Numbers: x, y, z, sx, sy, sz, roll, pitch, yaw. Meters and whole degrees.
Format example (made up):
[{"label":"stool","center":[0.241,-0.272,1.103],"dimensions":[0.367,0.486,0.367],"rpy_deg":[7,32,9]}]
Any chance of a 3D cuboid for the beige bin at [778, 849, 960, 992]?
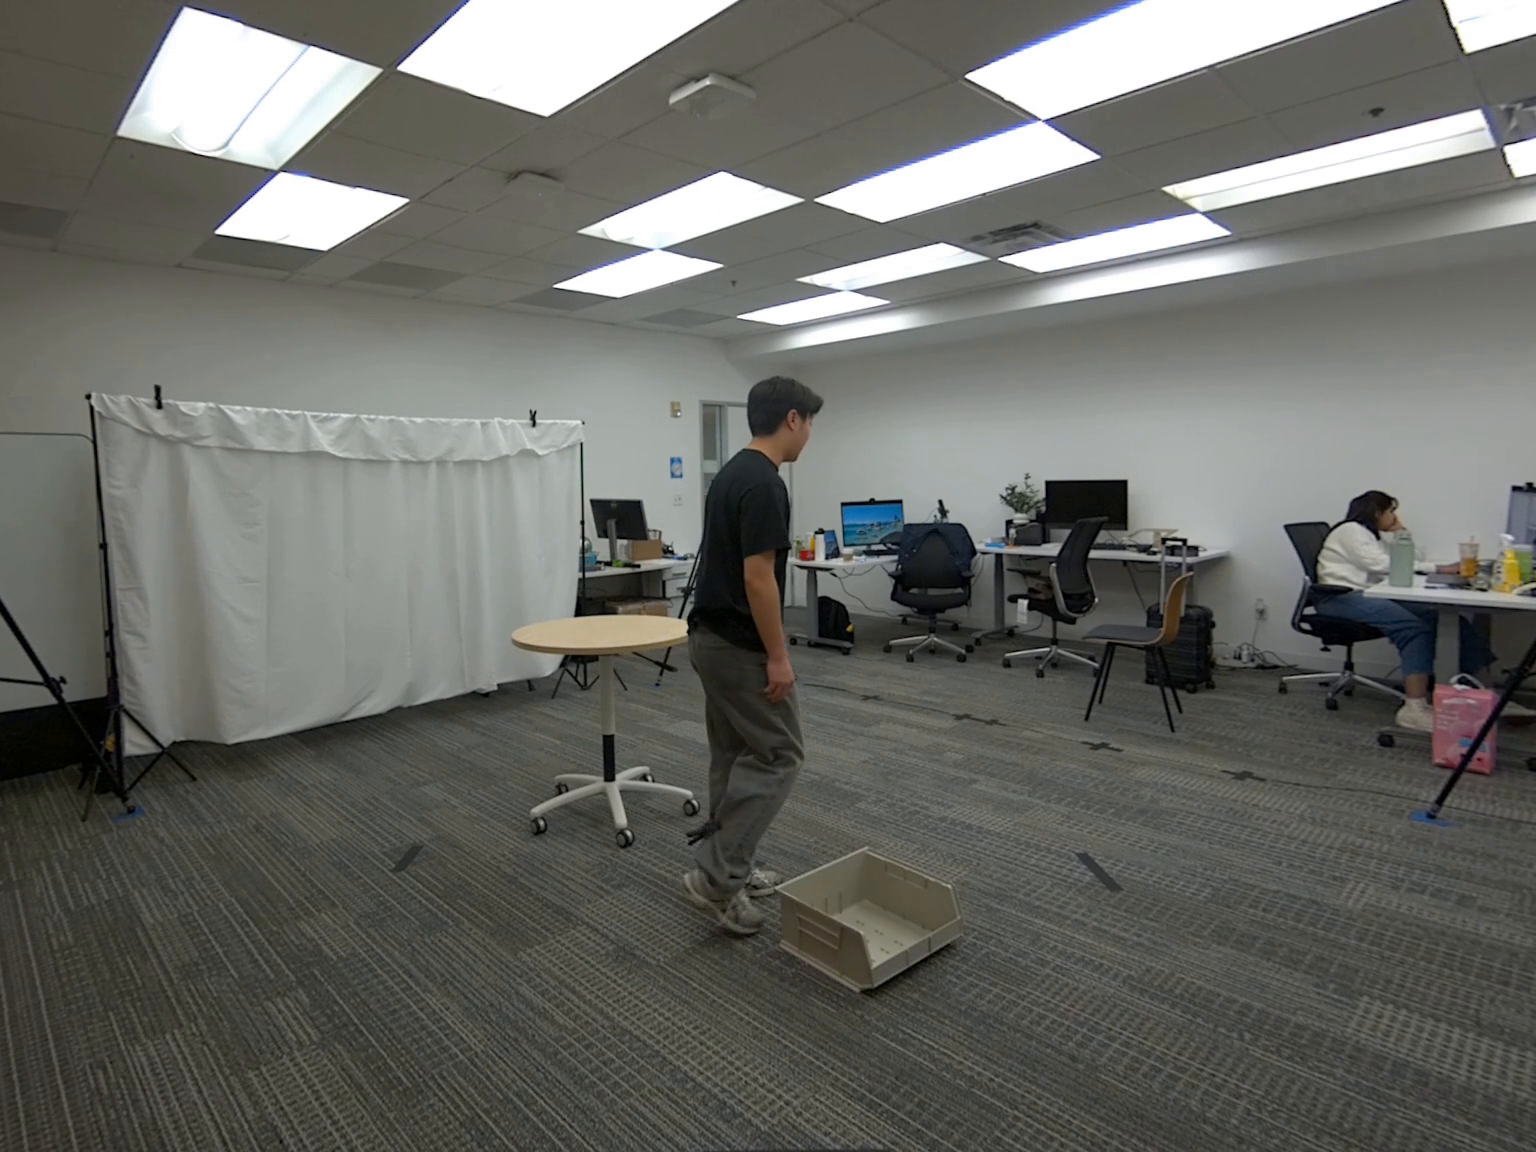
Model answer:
[{"label":"beige bin","center":[0.308,1.019,2.540],"dimensions":[0.411,0.188,0.389],"rpy_deg":[-7,7,-41]}]
